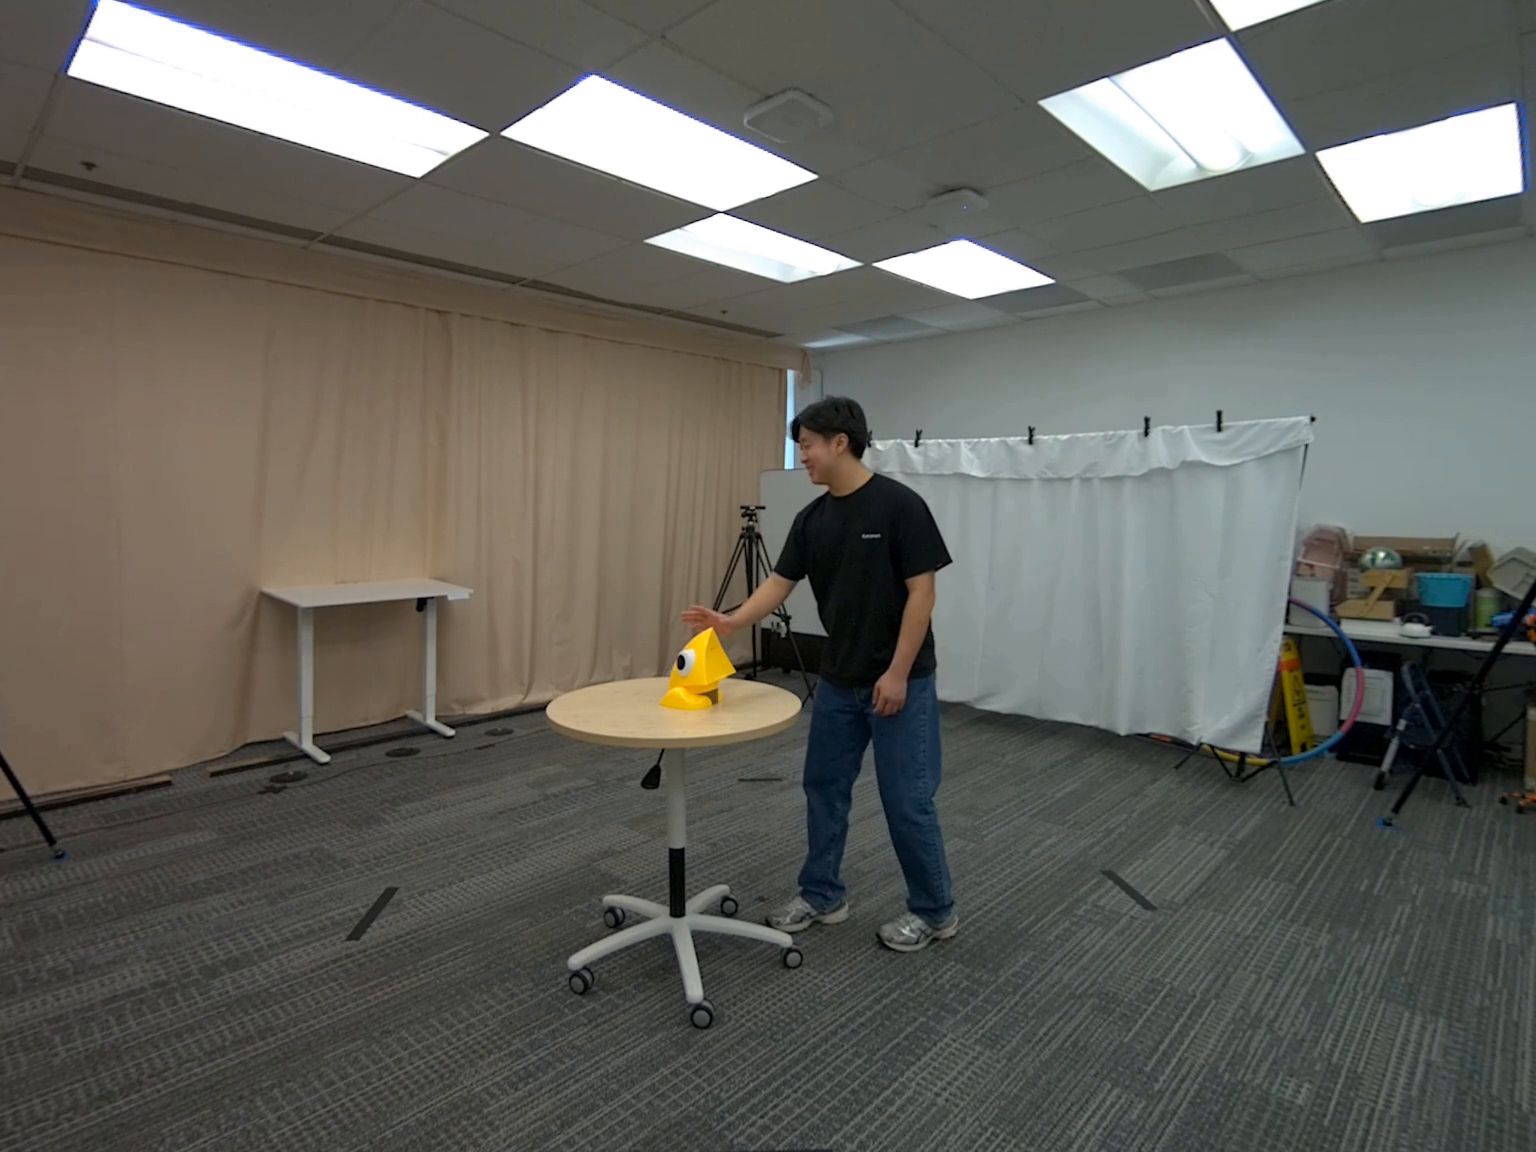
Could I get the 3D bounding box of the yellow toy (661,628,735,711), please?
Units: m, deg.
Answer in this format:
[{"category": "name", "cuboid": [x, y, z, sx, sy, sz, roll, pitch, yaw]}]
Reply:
[{"category": "yellow toy", "cuboid": [-0.219, 0.273, 2.563, 0.198, 0.230, 0.200, 2, 6, 24]}]
